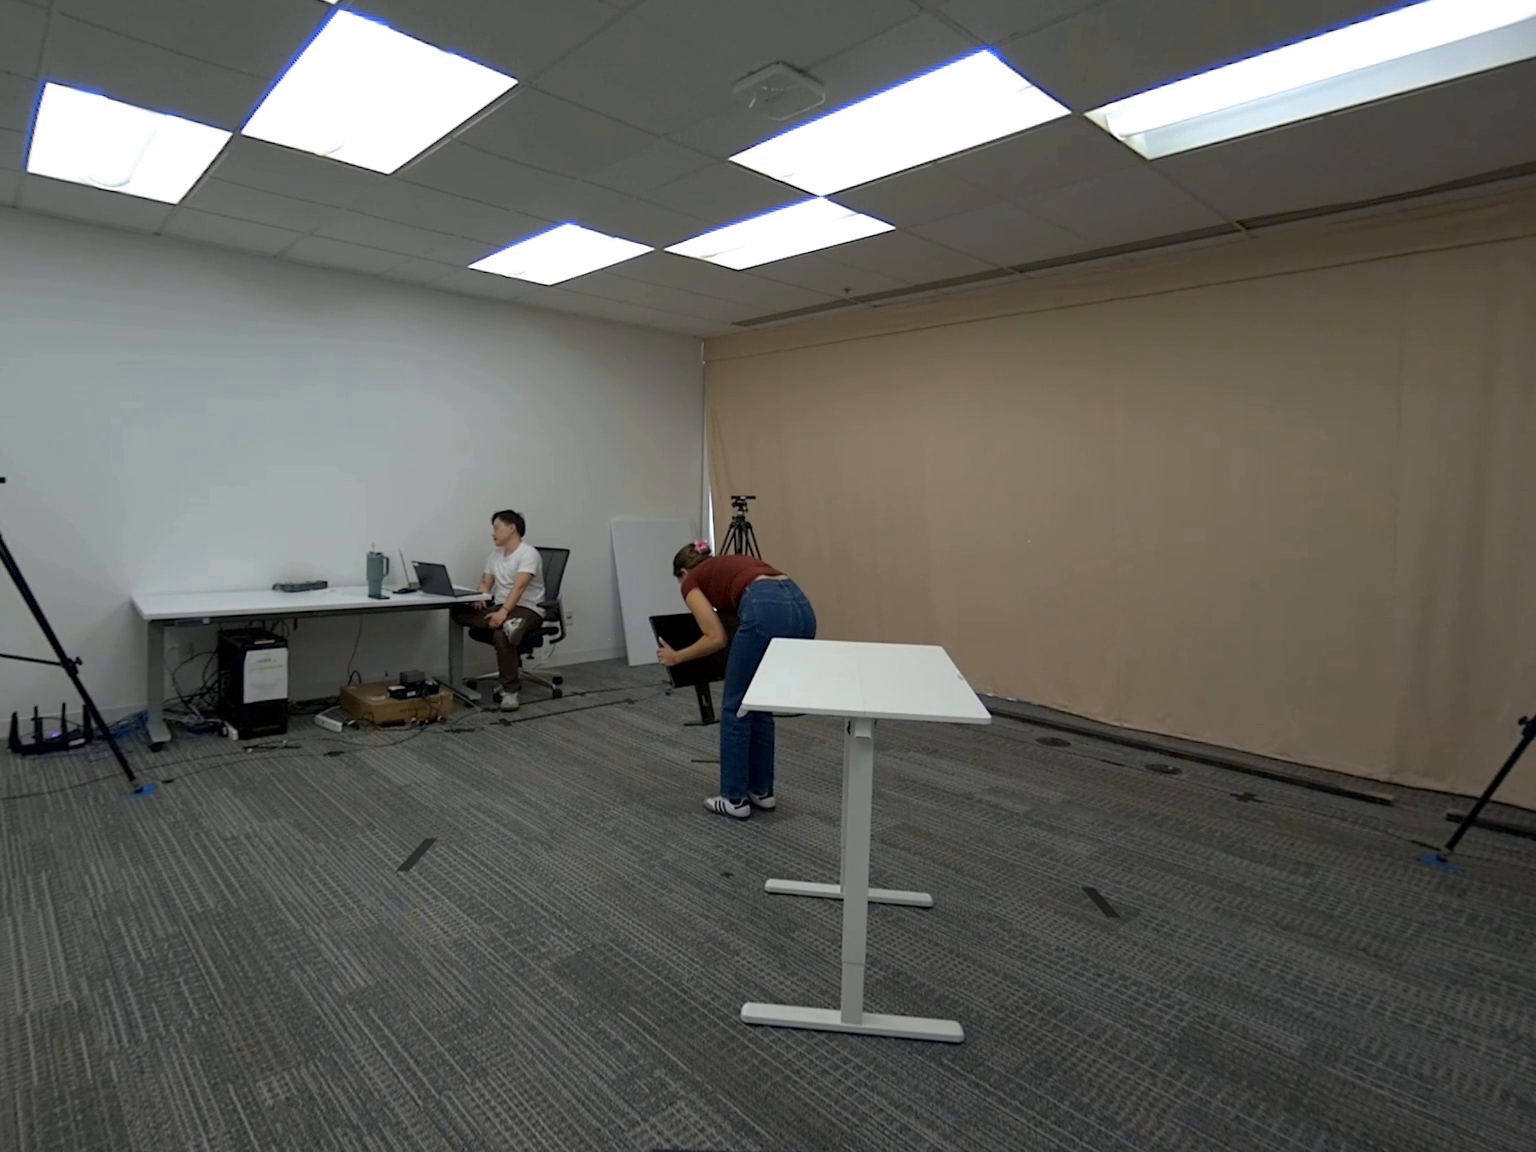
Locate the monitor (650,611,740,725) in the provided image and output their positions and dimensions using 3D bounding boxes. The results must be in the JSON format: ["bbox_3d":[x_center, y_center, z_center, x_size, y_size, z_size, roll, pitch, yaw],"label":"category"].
[{"bbox_3d":[-0.301,0.425,3.959,0.526,0.526,0.190,-1,-10,-45],"label":"monitor"}]
